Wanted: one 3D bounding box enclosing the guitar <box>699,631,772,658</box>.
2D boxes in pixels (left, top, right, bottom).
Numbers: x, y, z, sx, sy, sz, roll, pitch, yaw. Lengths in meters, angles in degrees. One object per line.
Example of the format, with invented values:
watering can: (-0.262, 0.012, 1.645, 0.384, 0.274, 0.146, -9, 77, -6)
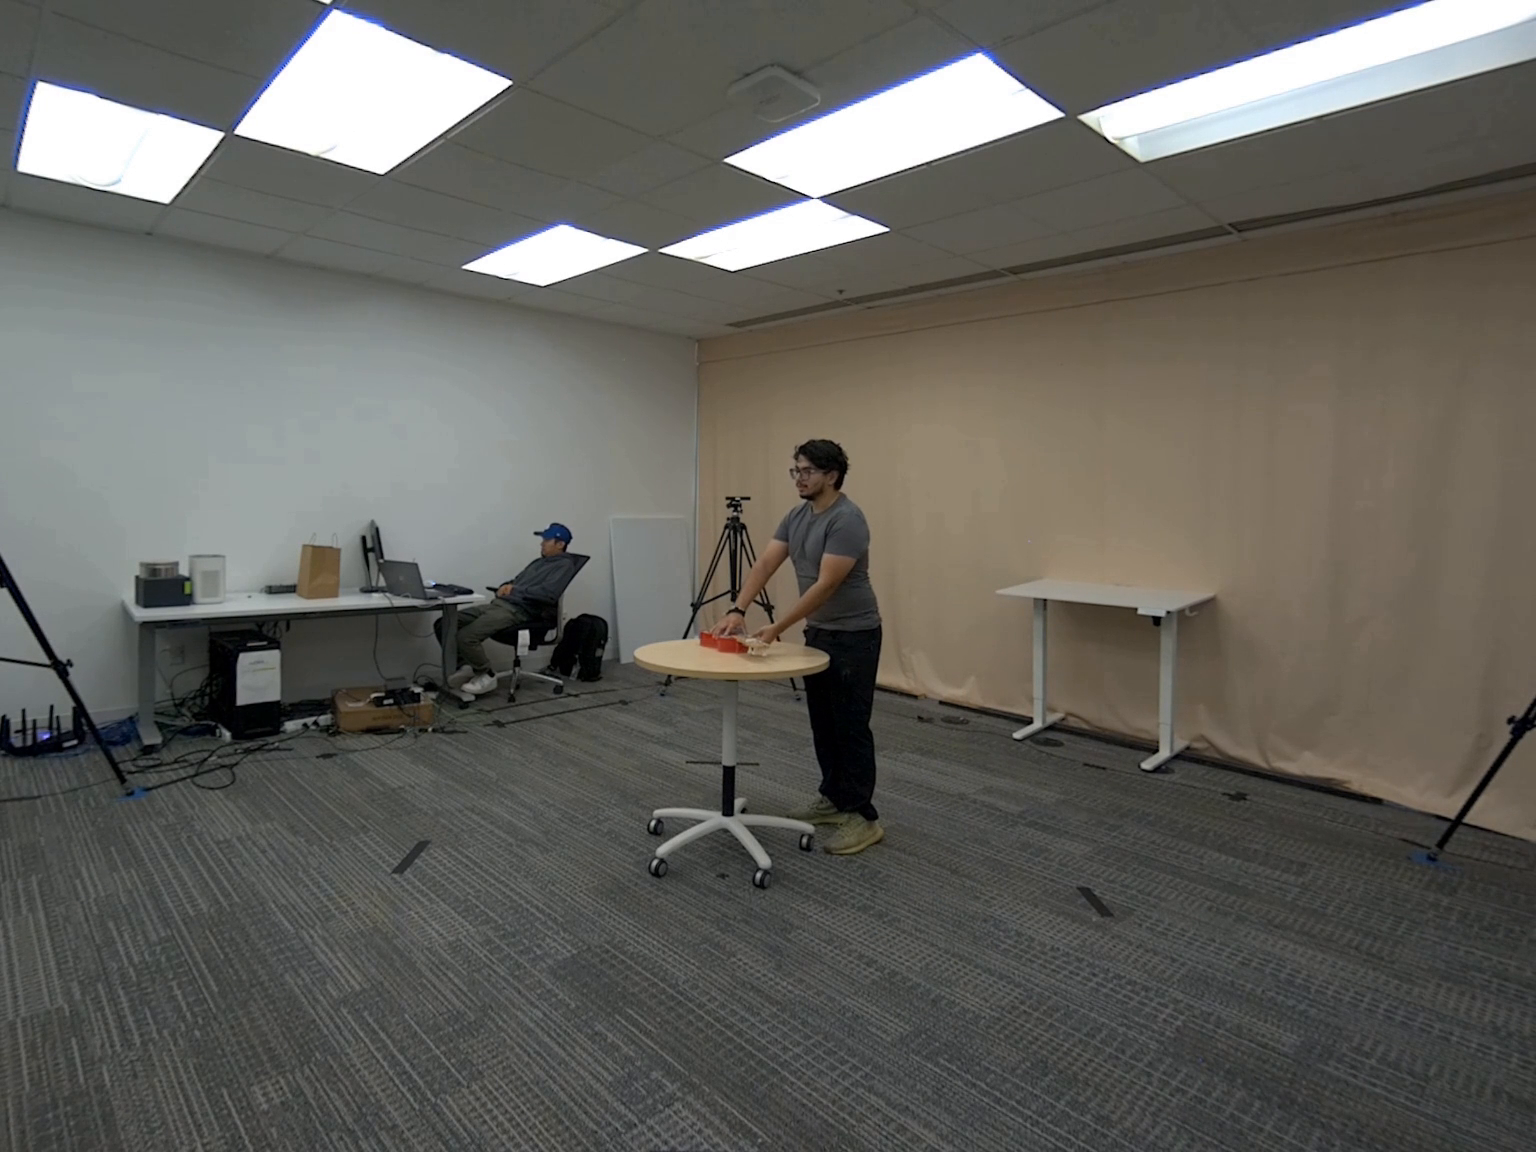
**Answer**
guitar: (-0.160, 0.262, 3.342, 0.191, 0.070, 0.502, 4, 4, -10)
